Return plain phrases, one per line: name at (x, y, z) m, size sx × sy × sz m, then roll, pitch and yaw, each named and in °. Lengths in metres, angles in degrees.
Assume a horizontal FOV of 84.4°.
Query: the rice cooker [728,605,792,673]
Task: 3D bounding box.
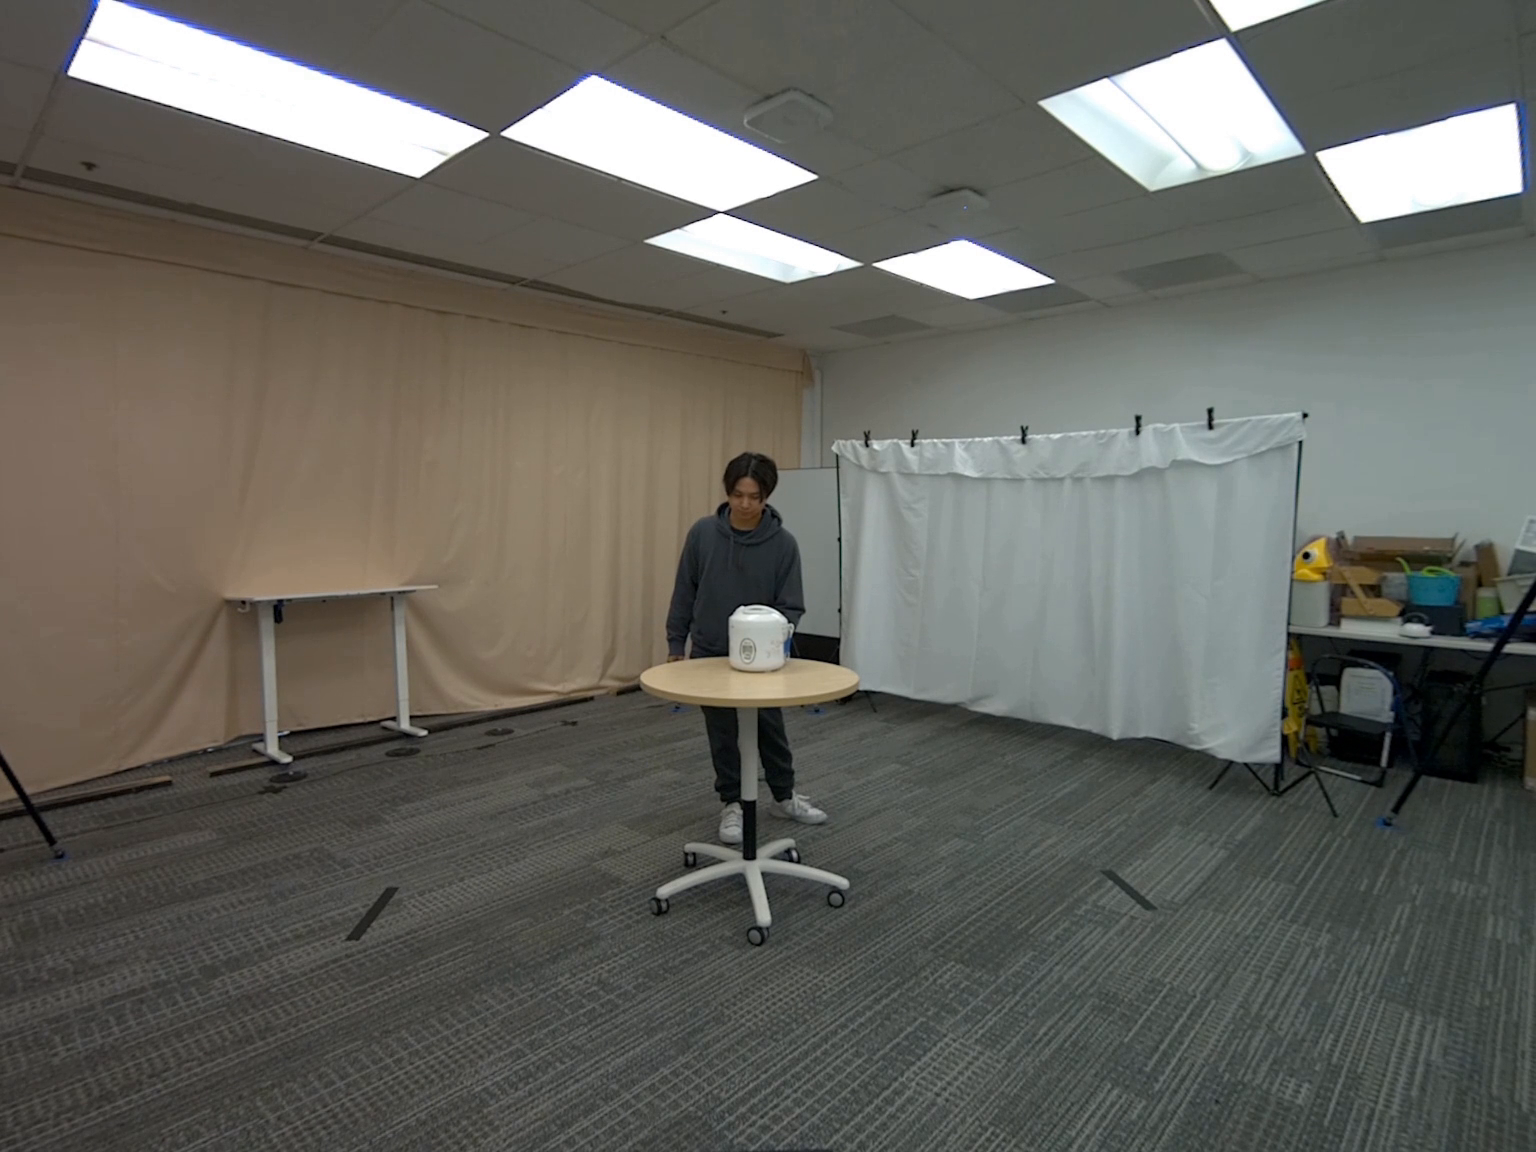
rice cooker at (-0.038, 0.222, 3.087) m, size 0.225 × 0.232 × 0.213 m, roll 1°, pitch 2°, yaw 21°
